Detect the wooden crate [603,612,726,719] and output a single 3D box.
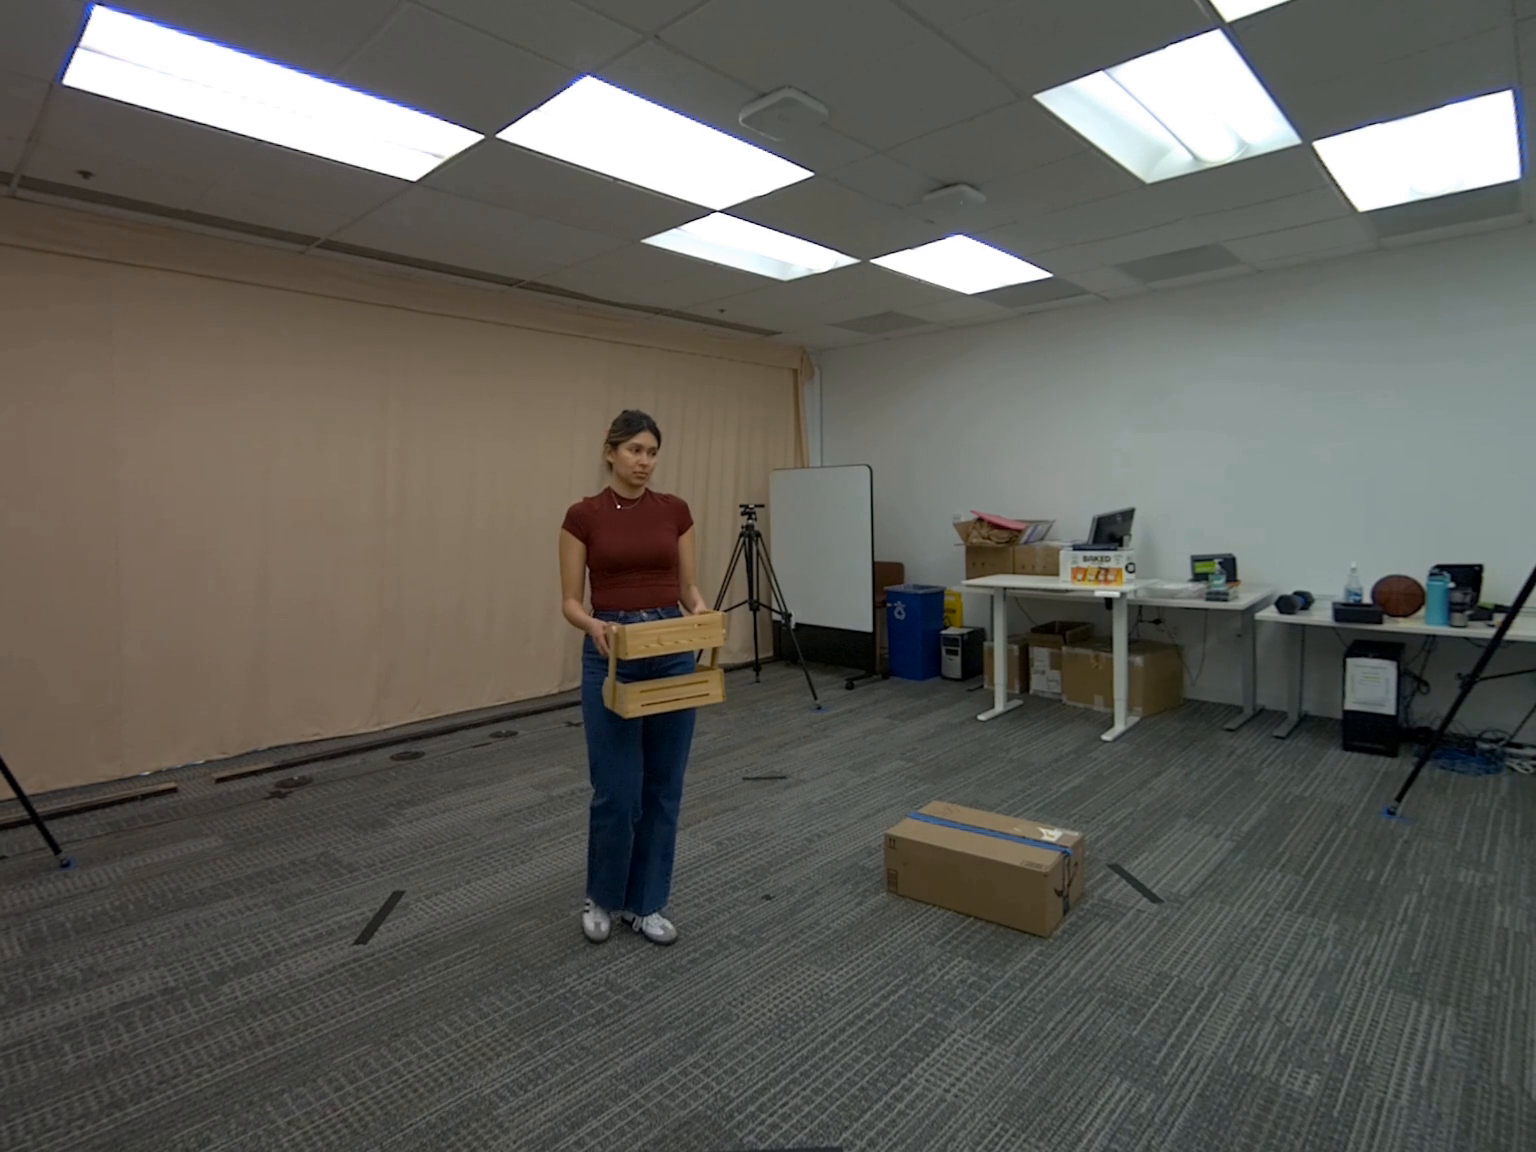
[{"bbox_3d":[-0.309,0.246,2.470,0.317,0.273,0.309,-6,3,-23],"label":"wooden crate"}]
